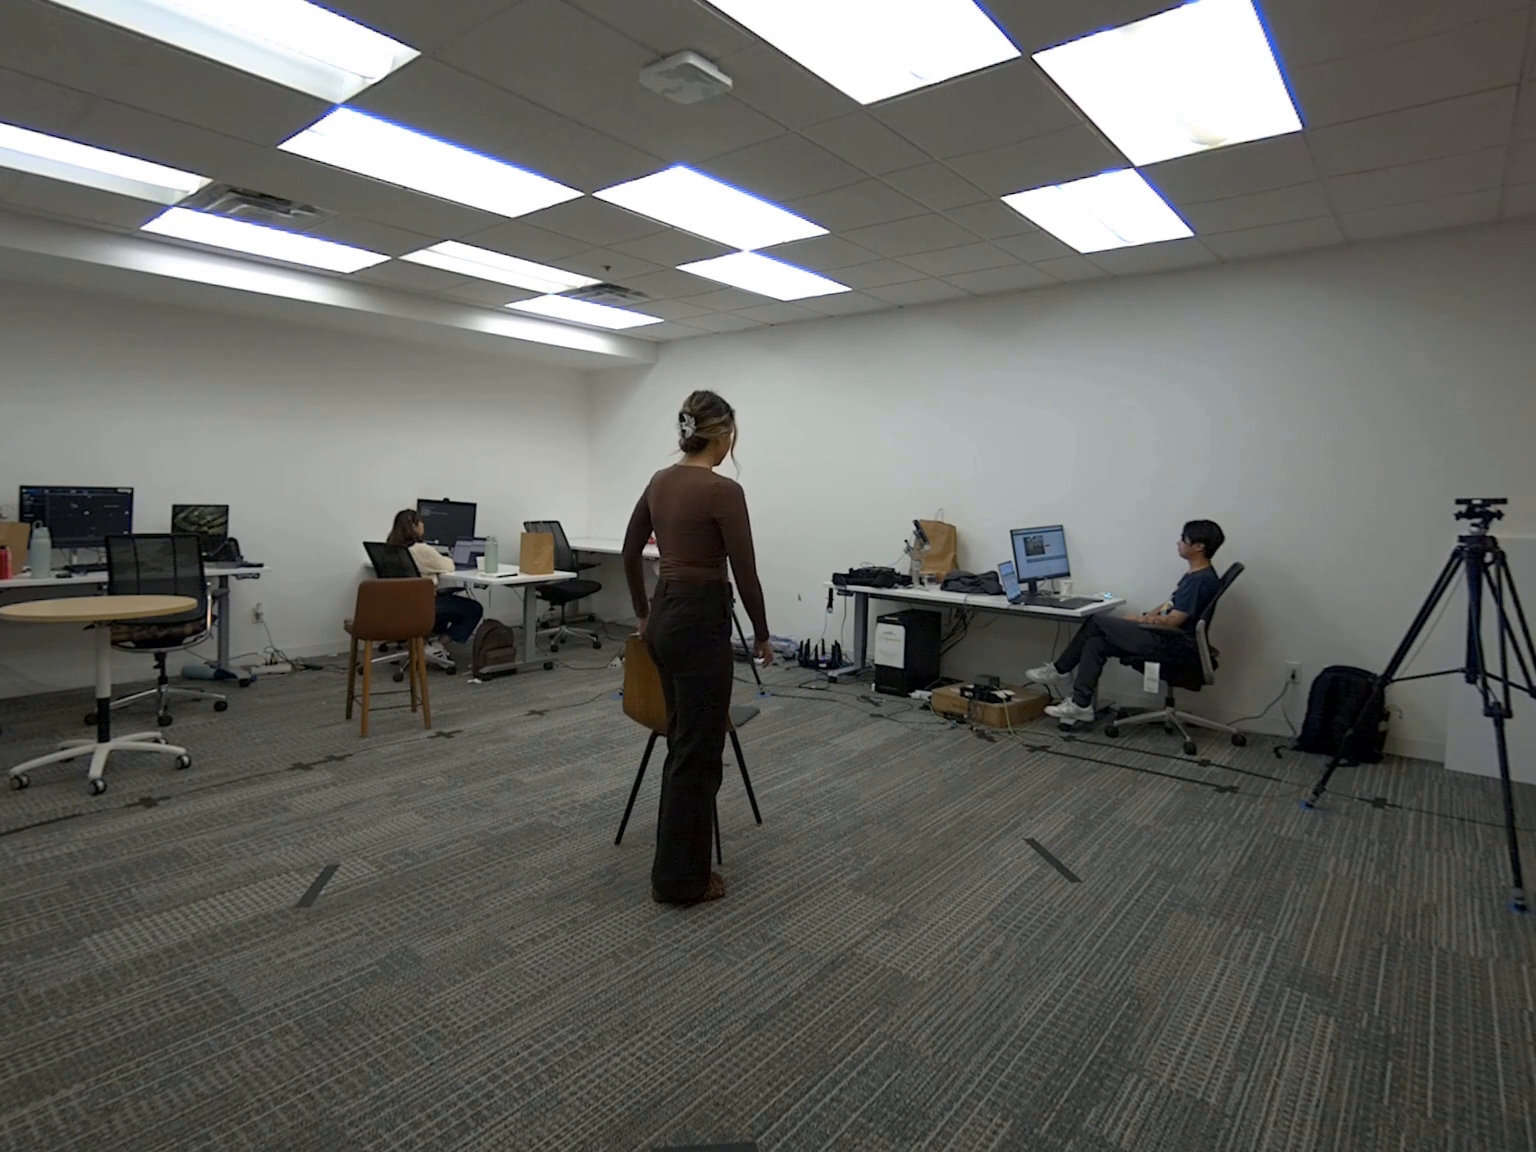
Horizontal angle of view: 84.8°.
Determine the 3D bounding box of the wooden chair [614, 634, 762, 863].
[{"bbox_3d":[-0.315,0.608,3.414,0.489,0.871,0.515,2,8,22],"label":"wooden chair"}]
